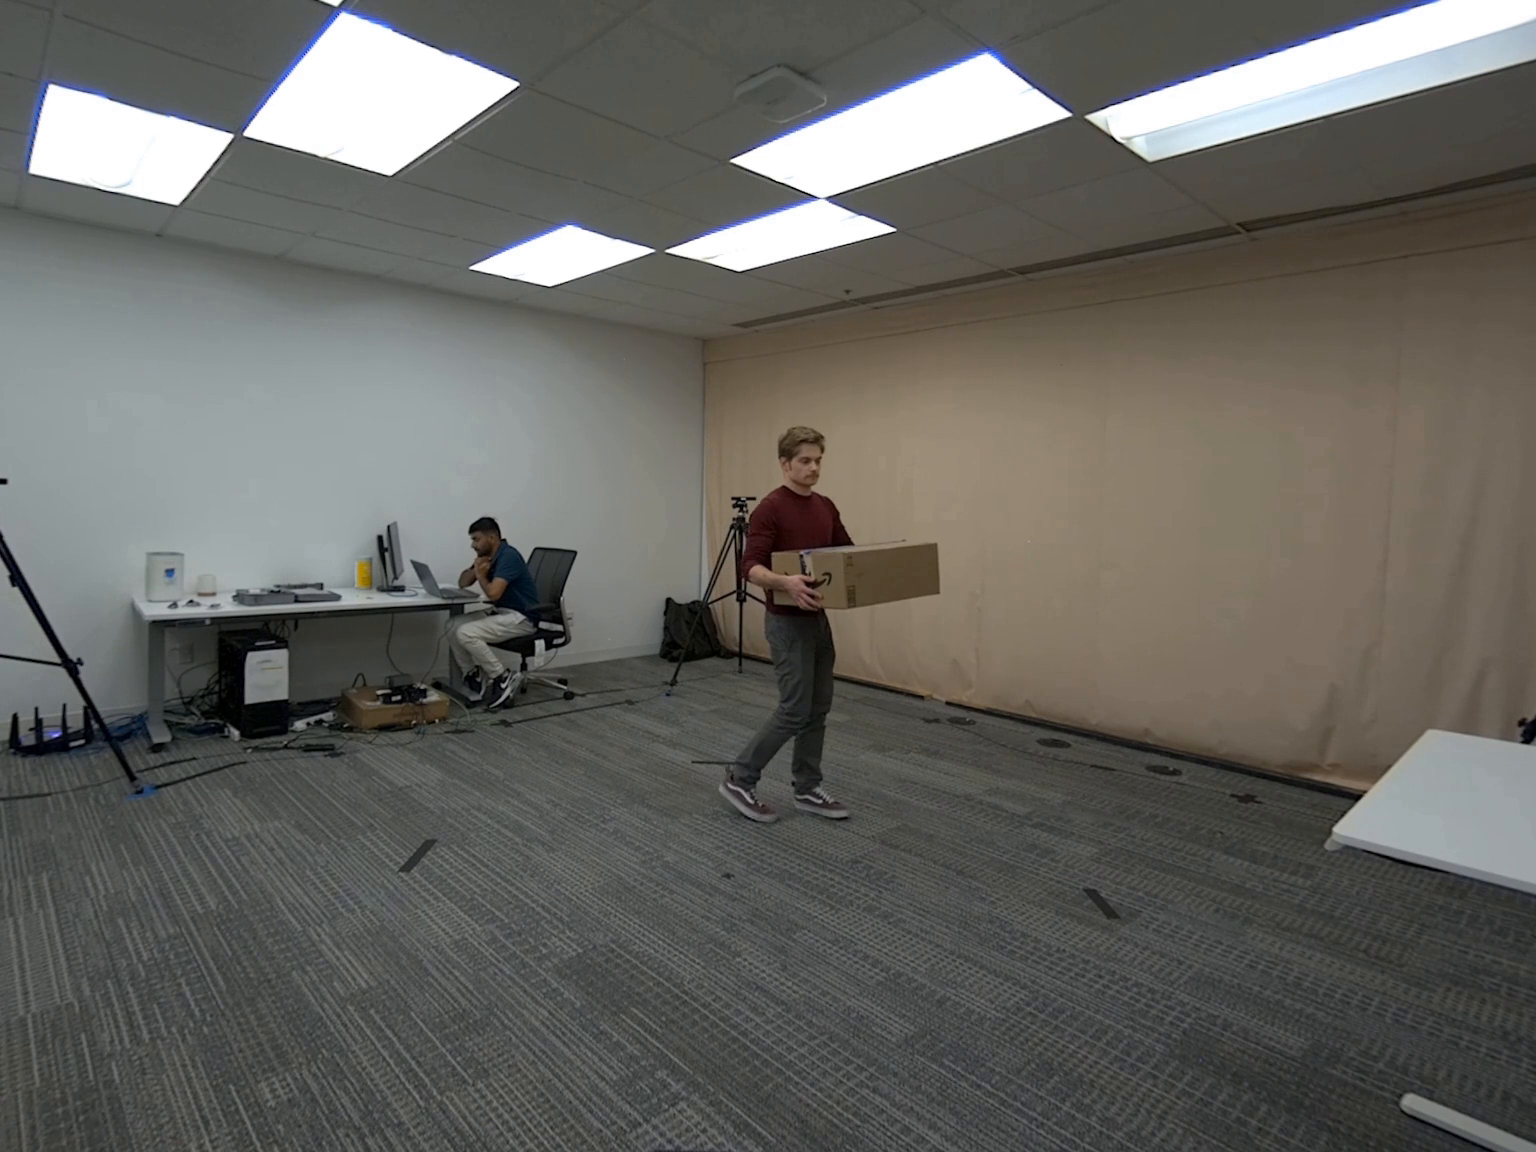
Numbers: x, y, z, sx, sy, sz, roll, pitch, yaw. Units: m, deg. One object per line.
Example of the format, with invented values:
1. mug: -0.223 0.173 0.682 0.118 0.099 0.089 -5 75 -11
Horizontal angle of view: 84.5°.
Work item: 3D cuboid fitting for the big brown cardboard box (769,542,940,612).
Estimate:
1. big brown cardboard box: 0.356 -0.009 3.463 0.576 0.233 0.427 -6 4 -41
